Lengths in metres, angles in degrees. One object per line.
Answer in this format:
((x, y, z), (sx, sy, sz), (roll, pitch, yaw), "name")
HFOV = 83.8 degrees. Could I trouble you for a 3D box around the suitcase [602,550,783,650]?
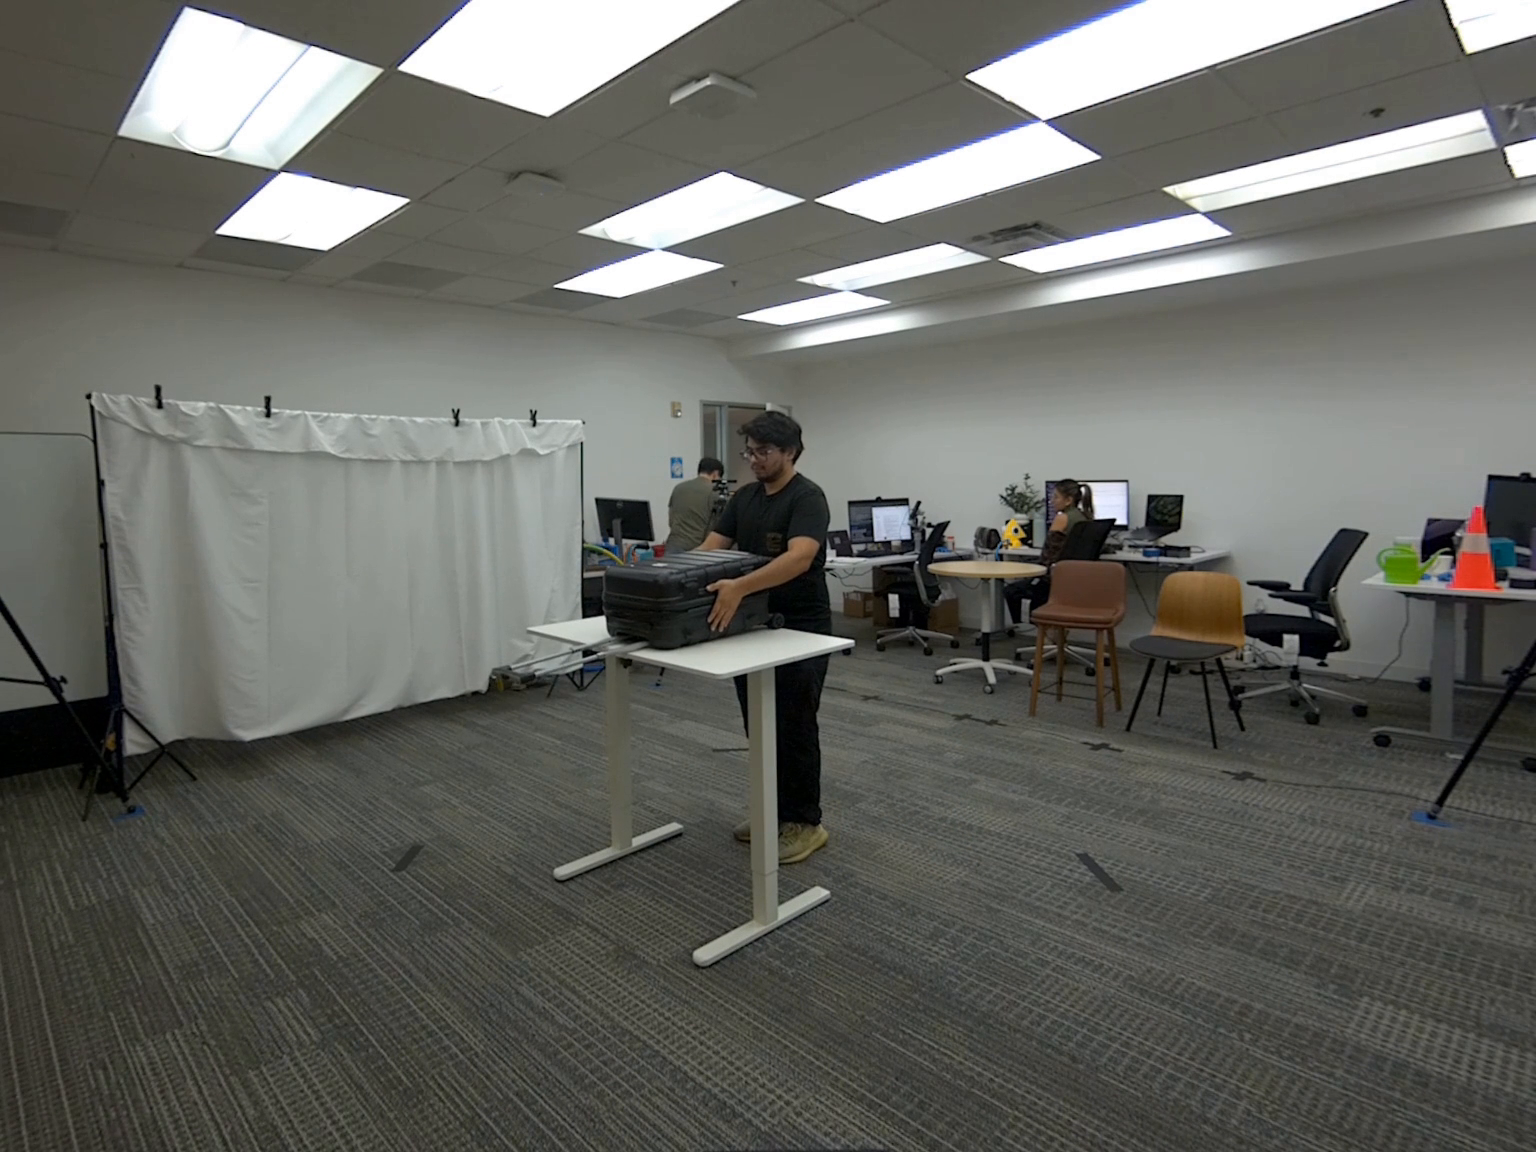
((-0.409, 0.097, 2.719), (0.954, 0.255, 0.396), (-9, 11, -43), "suitcase")
